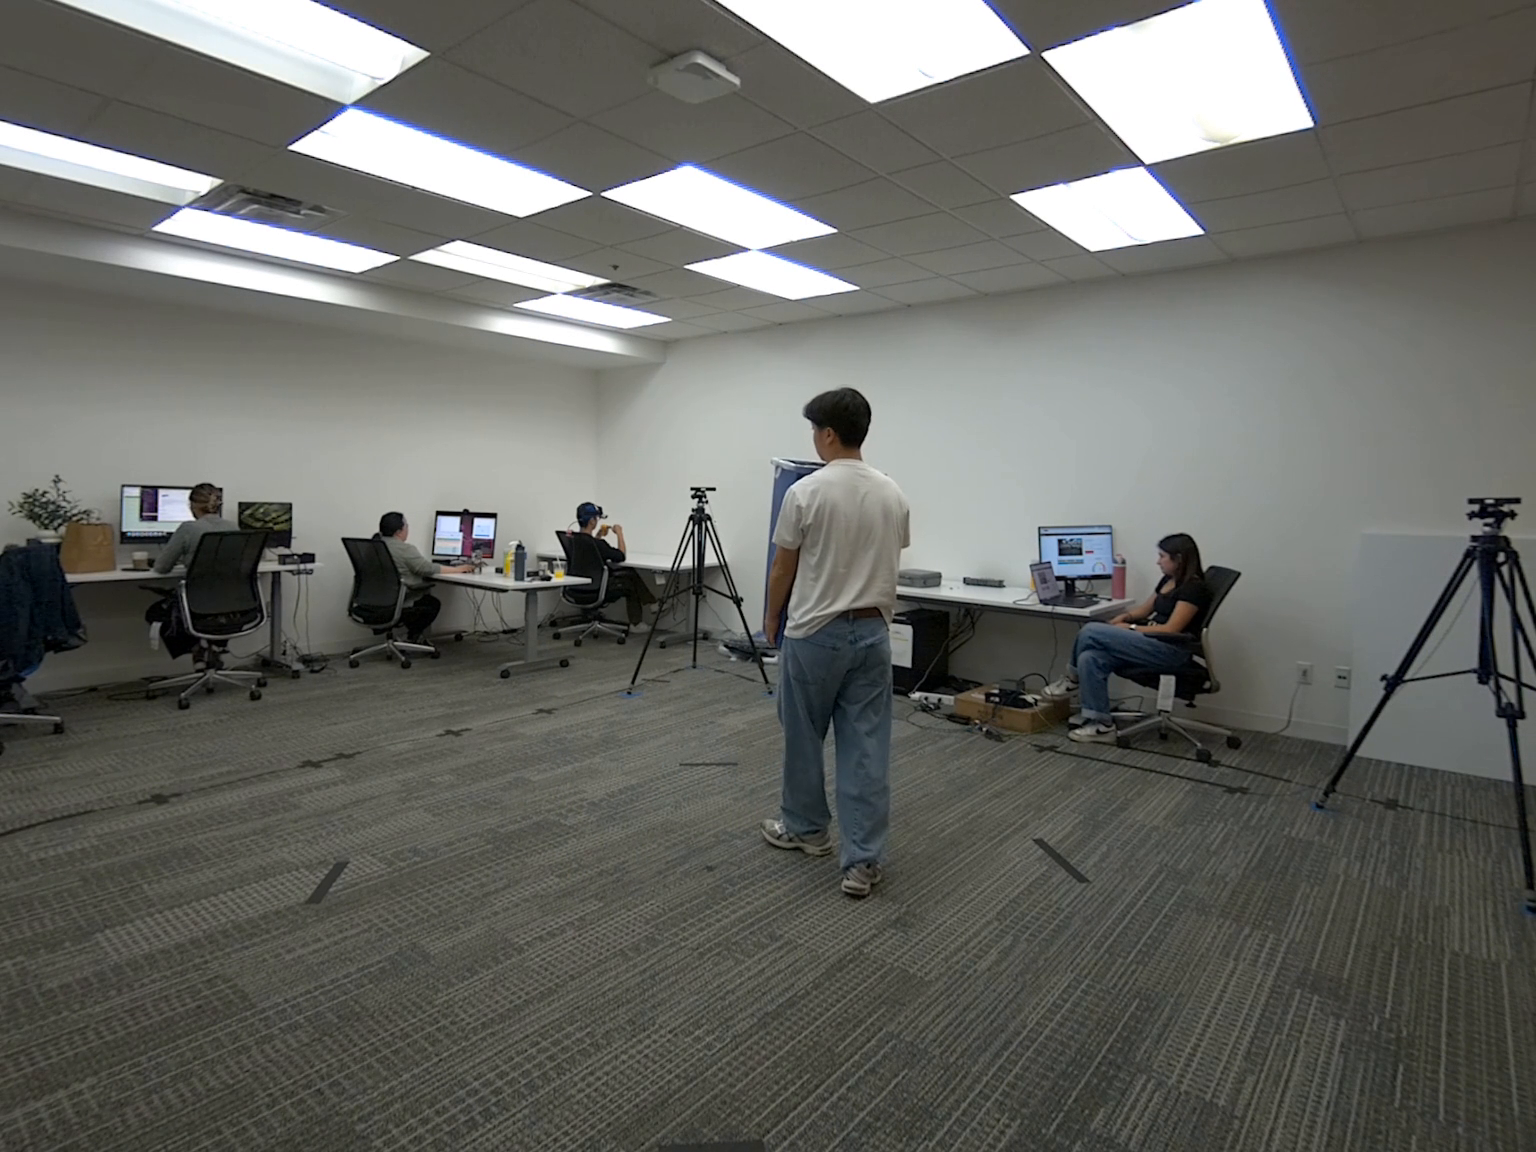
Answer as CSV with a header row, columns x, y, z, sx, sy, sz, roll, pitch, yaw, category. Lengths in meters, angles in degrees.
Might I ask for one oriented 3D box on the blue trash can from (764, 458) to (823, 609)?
x,y,z,sx,sy,sz,roll,pitch,yaw,category
0.184,-0.095,3.351,0.369,0.708,0.387,3,9,-14,blue trash can
